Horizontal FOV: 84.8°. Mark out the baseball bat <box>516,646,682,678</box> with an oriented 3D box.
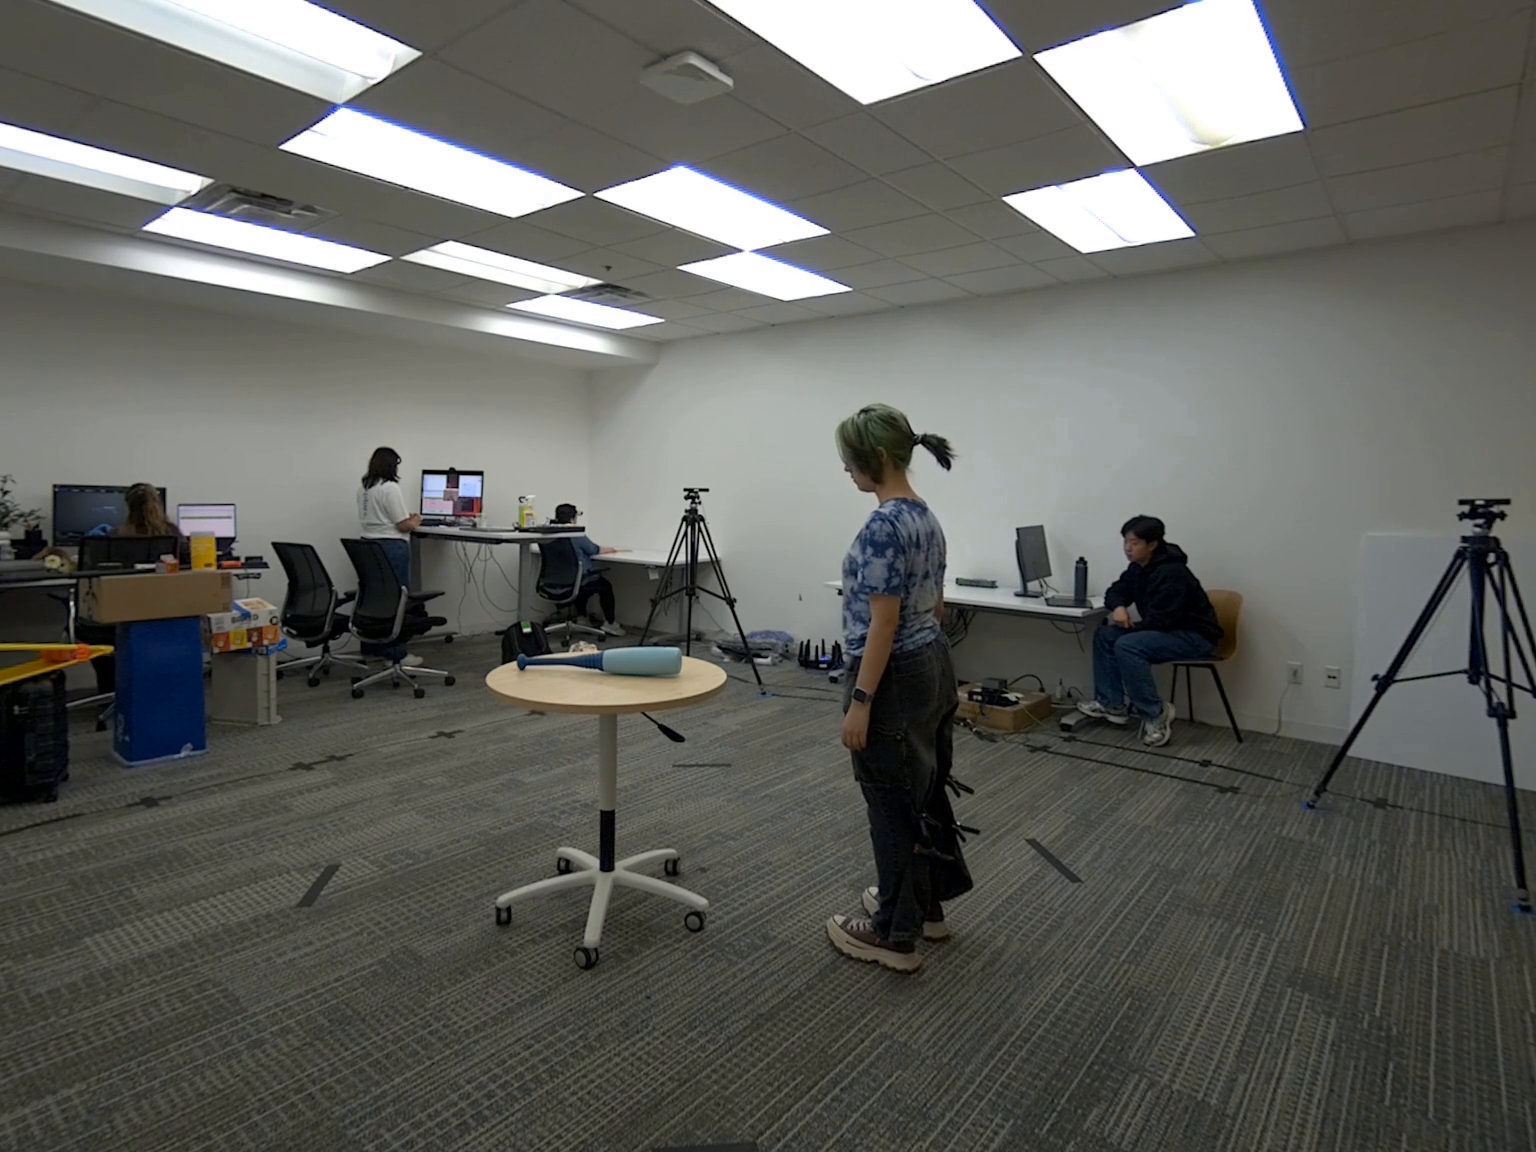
[{"bbox_3d":[-0.567,0.279,2.754,0.545,0.089,0.089,-2,4,4],"label":"baseball bat"}]
